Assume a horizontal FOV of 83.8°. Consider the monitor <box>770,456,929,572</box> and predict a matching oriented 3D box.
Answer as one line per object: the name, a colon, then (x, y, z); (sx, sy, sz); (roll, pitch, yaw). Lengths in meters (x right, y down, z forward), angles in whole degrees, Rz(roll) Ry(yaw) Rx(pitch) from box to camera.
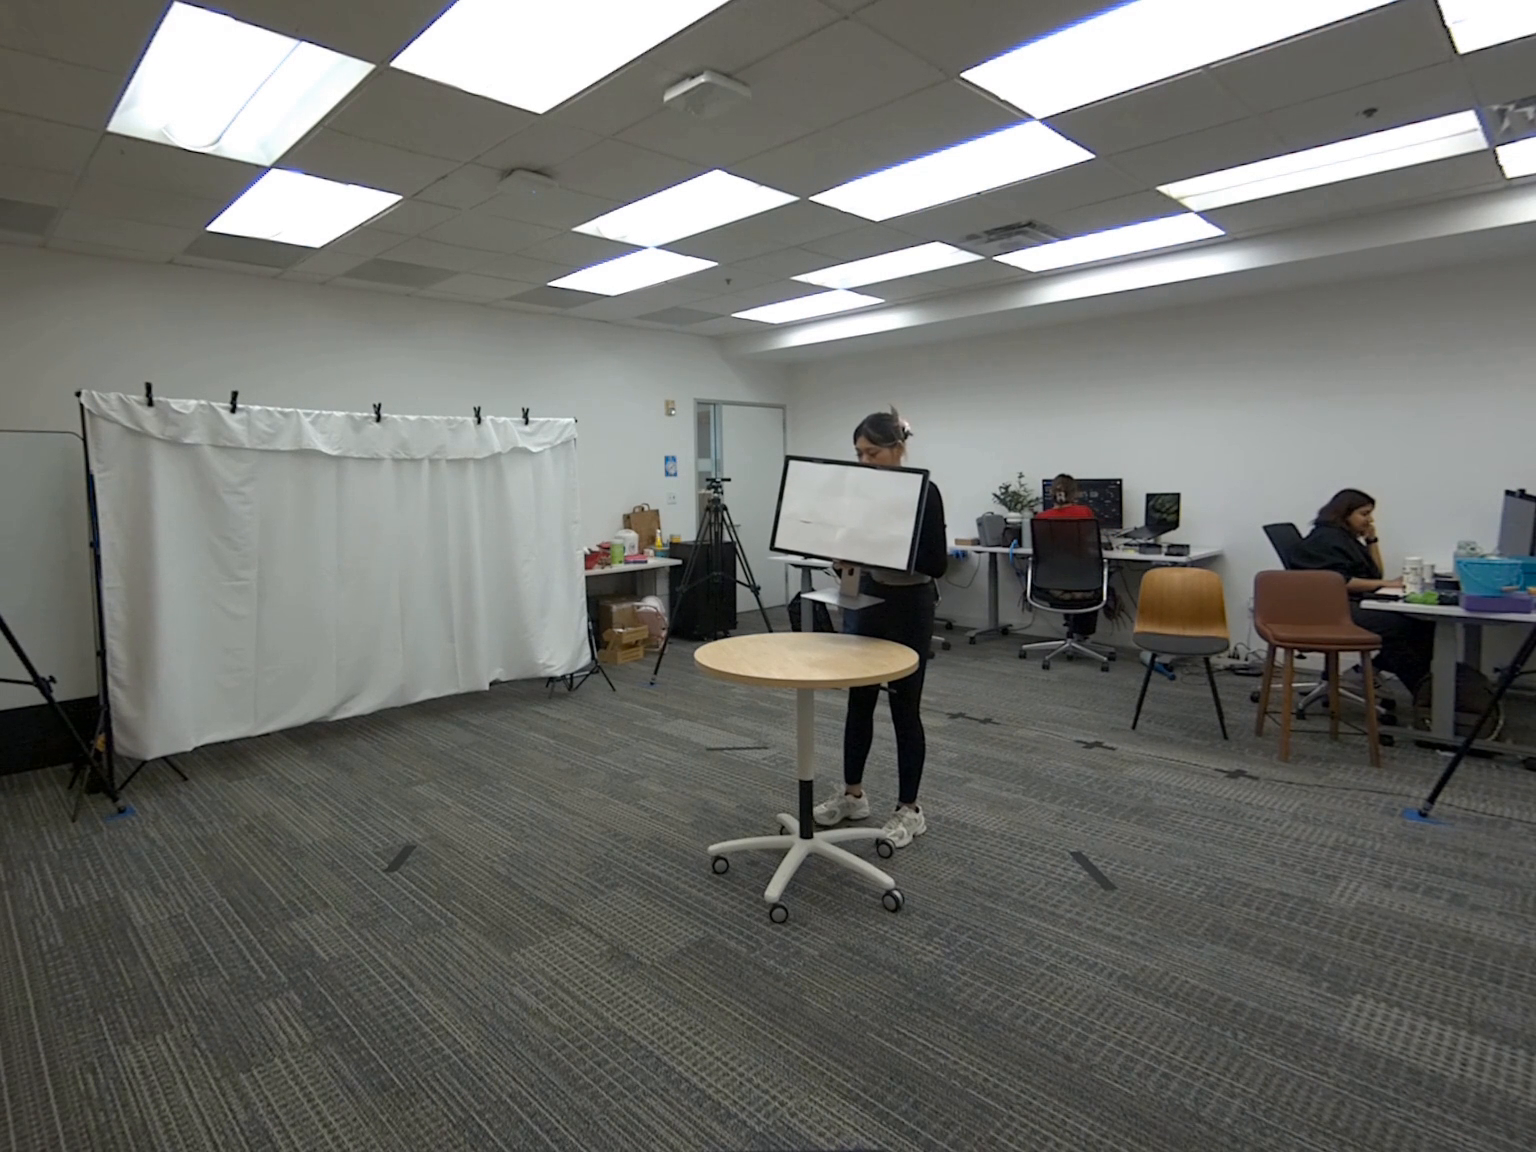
monitor: (0.293, -0.152, 3.077); (0.555, 0.518, 0.183); (9, 11, 30)
